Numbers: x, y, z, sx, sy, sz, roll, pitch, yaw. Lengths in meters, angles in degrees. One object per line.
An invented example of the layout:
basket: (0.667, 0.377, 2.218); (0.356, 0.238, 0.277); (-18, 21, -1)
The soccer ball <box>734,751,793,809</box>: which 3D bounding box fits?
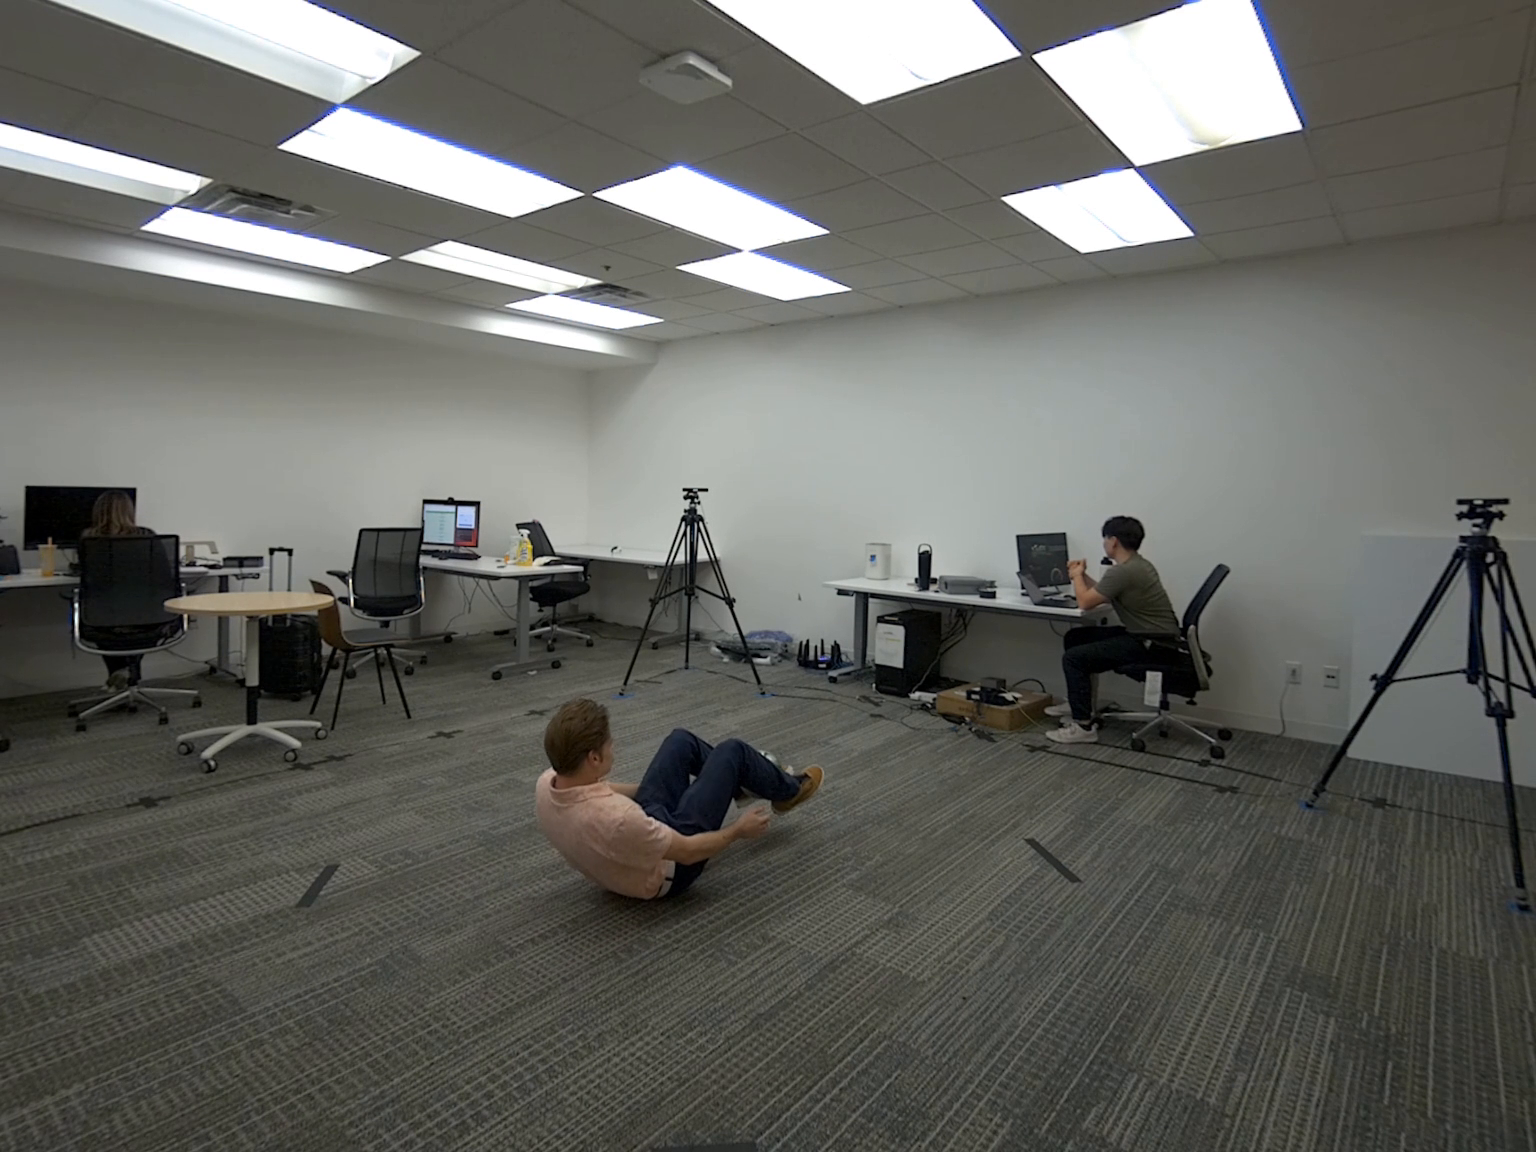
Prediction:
soccer ball: (-0.037, 0.787, 3.367); (0.187, 0.187, 0.188); (1, 4, -2)
